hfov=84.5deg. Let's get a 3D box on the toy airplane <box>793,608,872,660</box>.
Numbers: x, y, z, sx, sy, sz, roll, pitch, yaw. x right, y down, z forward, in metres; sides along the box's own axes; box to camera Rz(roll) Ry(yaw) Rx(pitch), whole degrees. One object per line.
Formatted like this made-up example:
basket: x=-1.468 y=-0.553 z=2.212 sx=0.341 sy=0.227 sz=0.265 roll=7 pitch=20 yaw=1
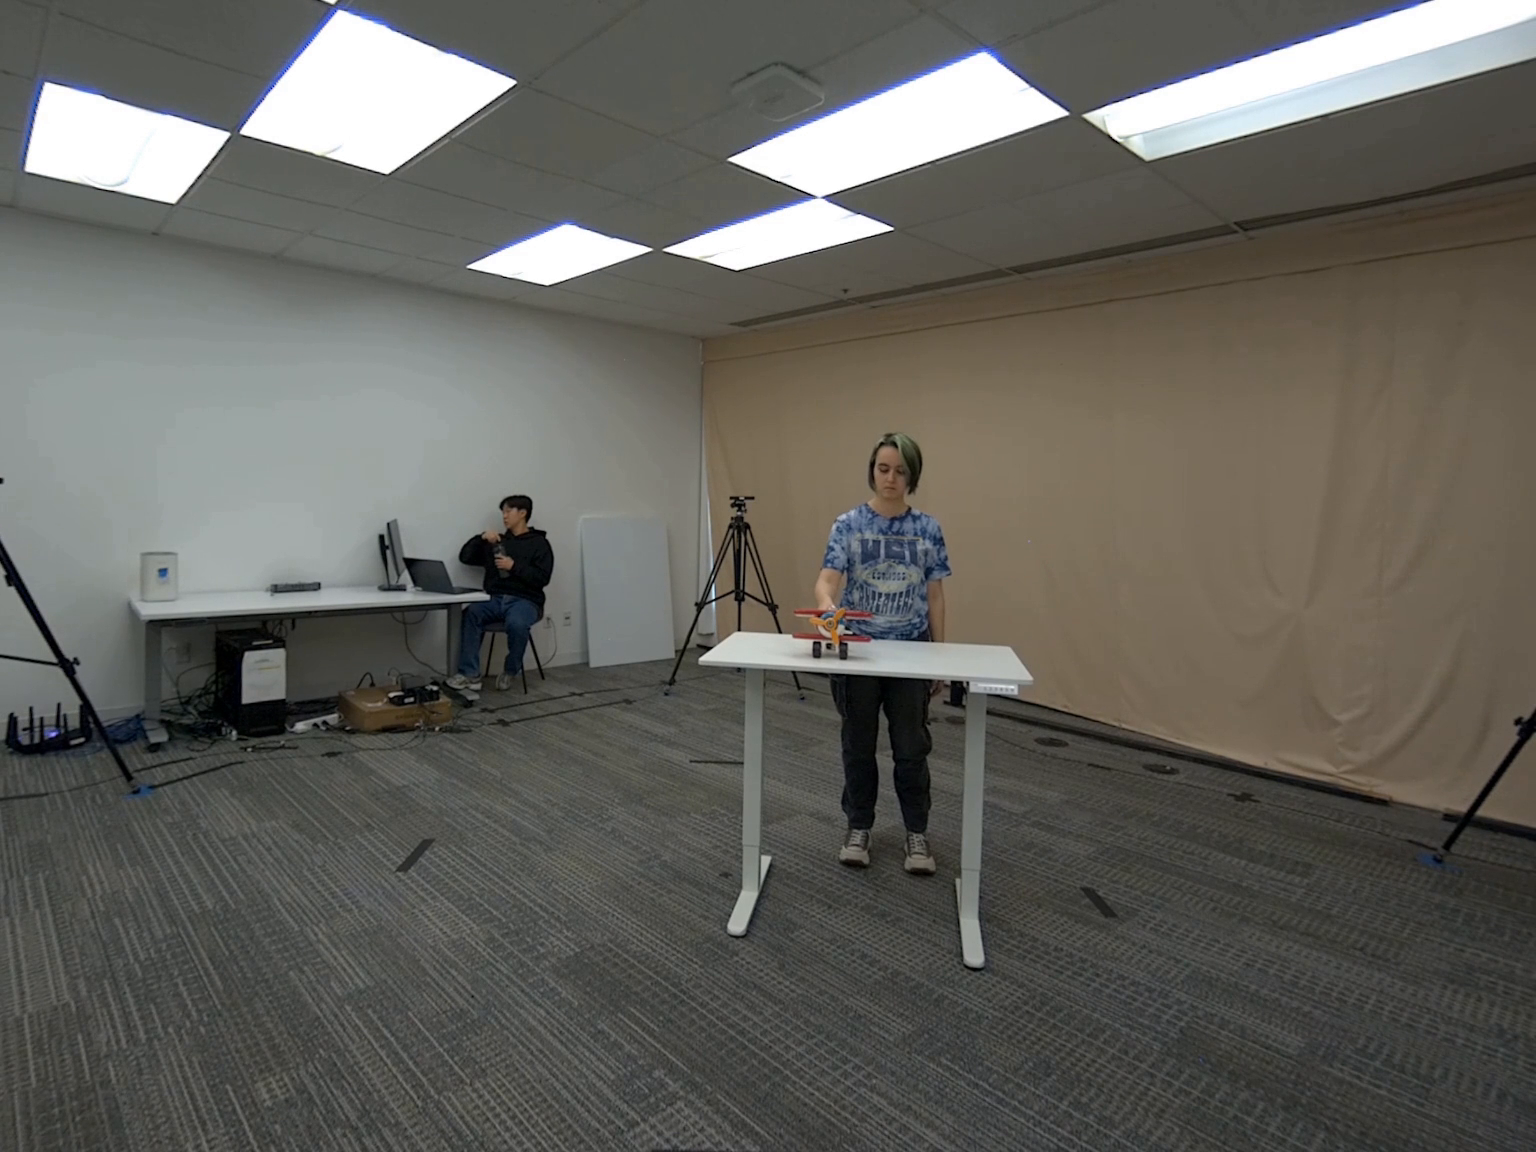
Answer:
toy airplane: x=0.196 y=0.182 z=2.786 sx=0.247 sy=0.156 sz=0.264 roll=-1 pitch=7 yaw=-19
